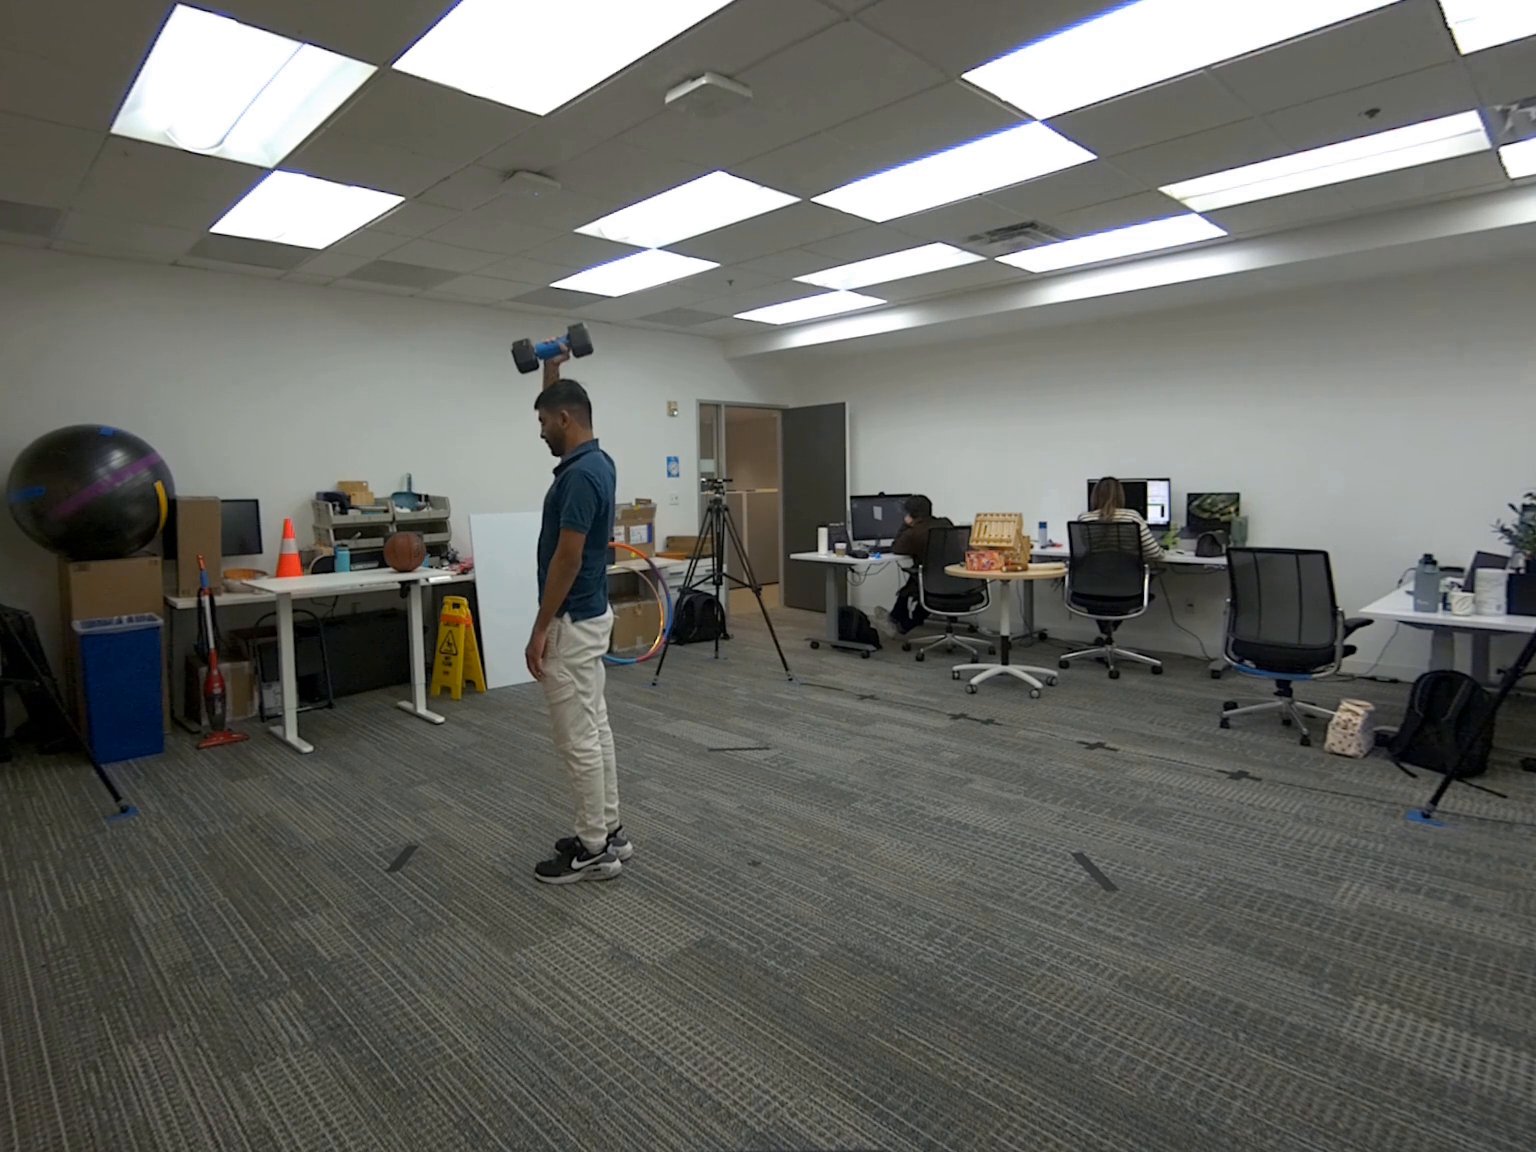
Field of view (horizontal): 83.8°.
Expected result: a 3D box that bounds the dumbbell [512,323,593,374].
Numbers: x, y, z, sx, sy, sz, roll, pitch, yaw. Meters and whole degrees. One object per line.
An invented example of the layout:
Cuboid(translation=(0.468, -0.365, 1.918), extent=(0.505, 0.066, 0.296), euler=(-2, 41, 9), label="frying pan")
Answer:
Cuboid(translation=(-0.804, -0.840, 3.192), extent=(0.293, 0.106, 0.126), euler=(-16, 29, -2), label="dumbbell")
